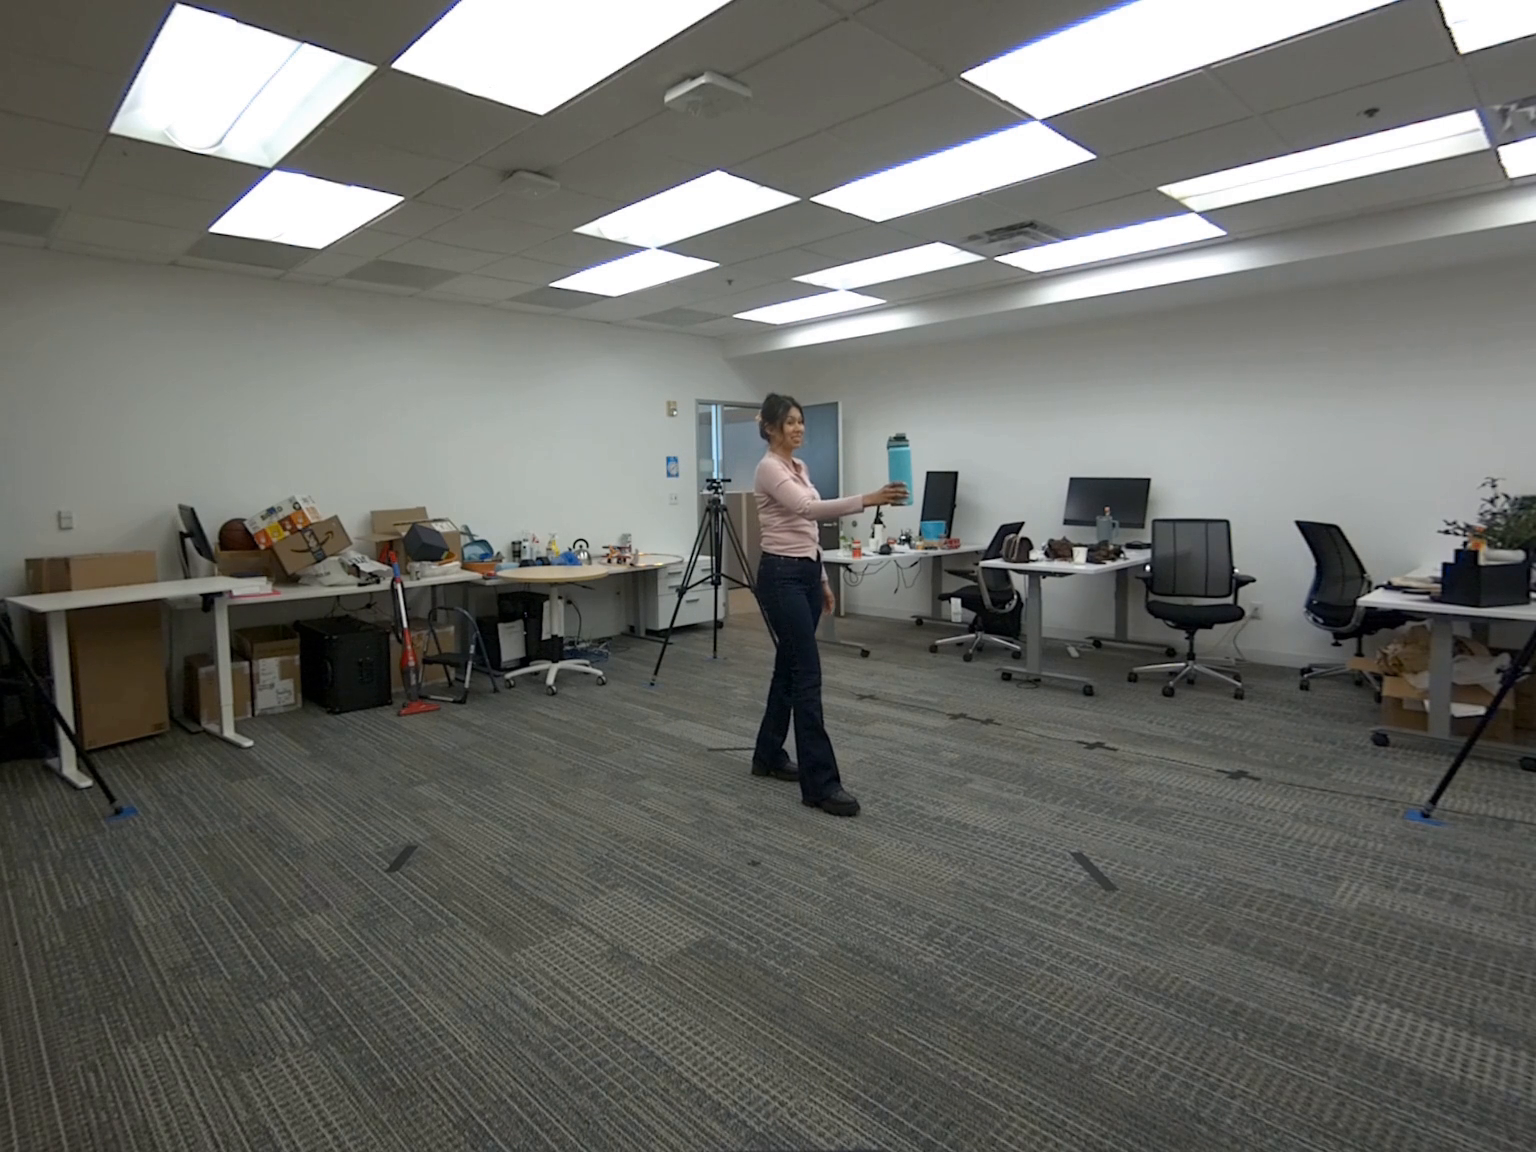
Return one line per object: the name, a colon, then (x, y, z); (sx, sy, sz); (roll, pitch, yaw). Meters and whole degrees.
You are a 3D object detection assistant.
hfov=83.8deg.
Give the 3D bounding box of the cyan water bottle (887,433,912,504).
cyan water bottle: (0.518, -0.422, 3.340); (0.092, 0.282, 0.093); (-5, 4, -1)
